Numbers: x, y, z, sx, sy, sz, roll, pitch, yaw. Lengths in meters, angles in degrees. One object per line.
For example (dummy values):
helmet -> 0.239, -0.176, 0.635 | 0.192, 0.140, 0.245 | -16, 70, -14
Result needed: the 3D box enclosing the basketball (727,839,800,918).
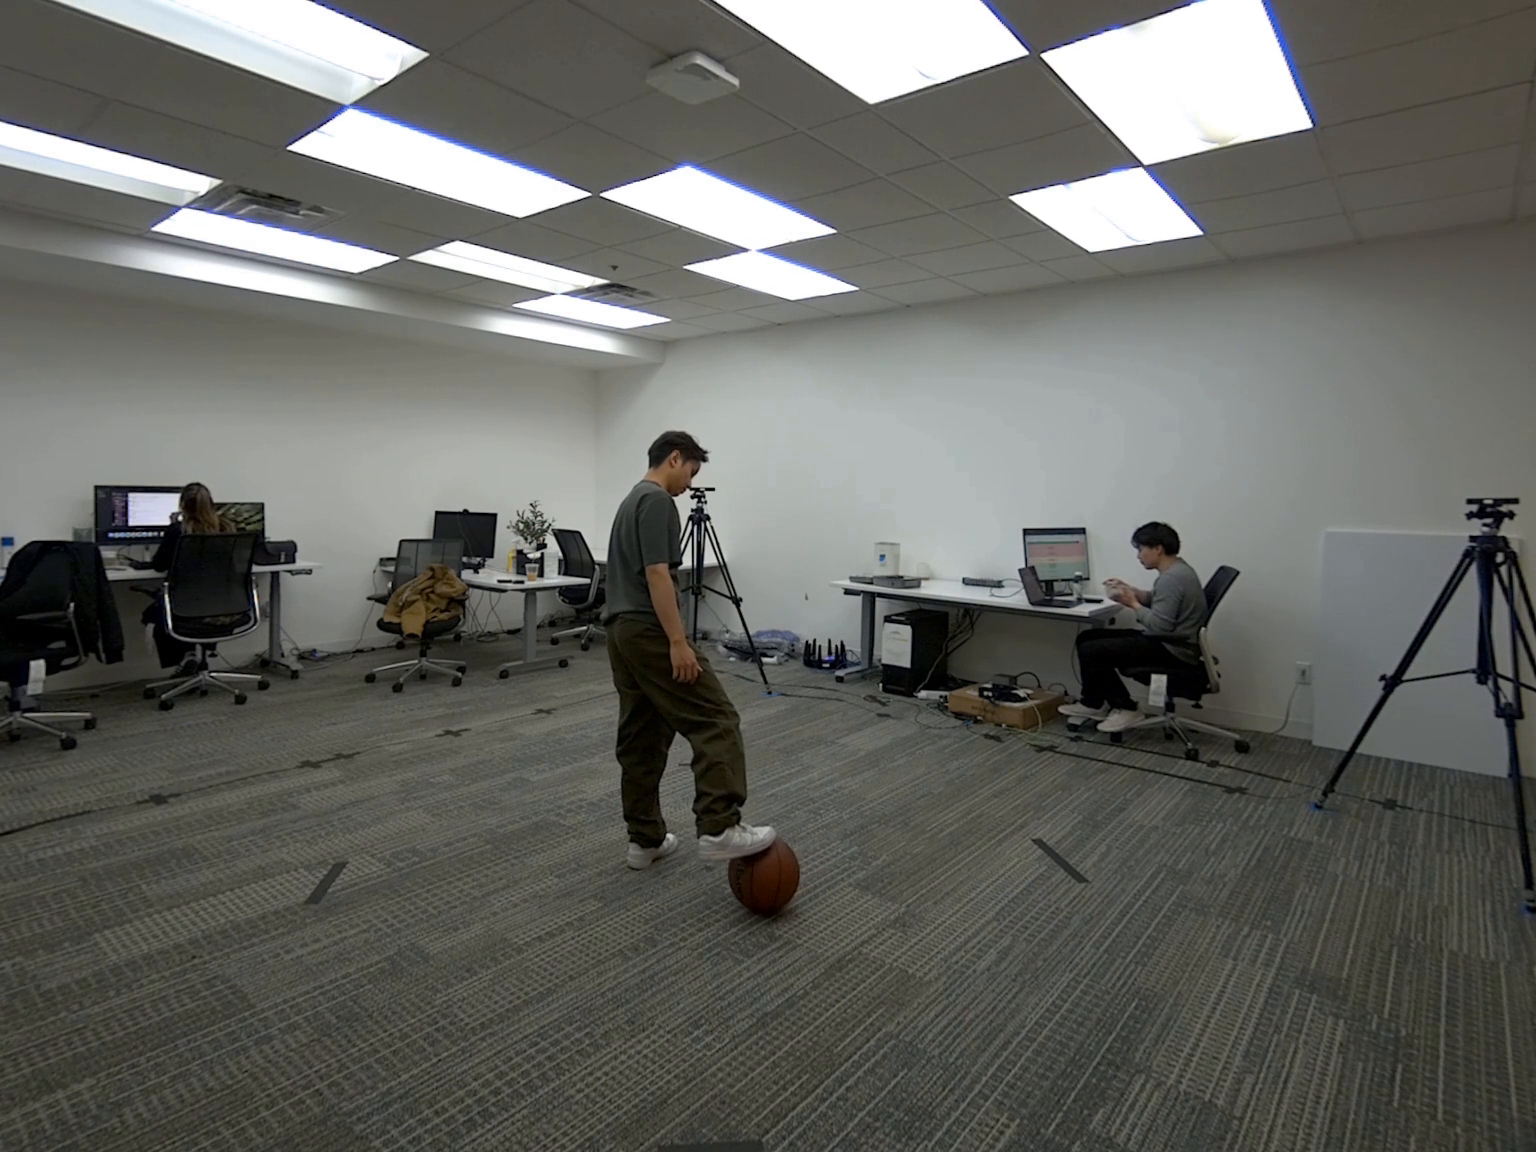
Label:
basketball -> -0.021, 0.977, 2.818 | 0.235, 0.235, 0.237 | 1, 4, -2
